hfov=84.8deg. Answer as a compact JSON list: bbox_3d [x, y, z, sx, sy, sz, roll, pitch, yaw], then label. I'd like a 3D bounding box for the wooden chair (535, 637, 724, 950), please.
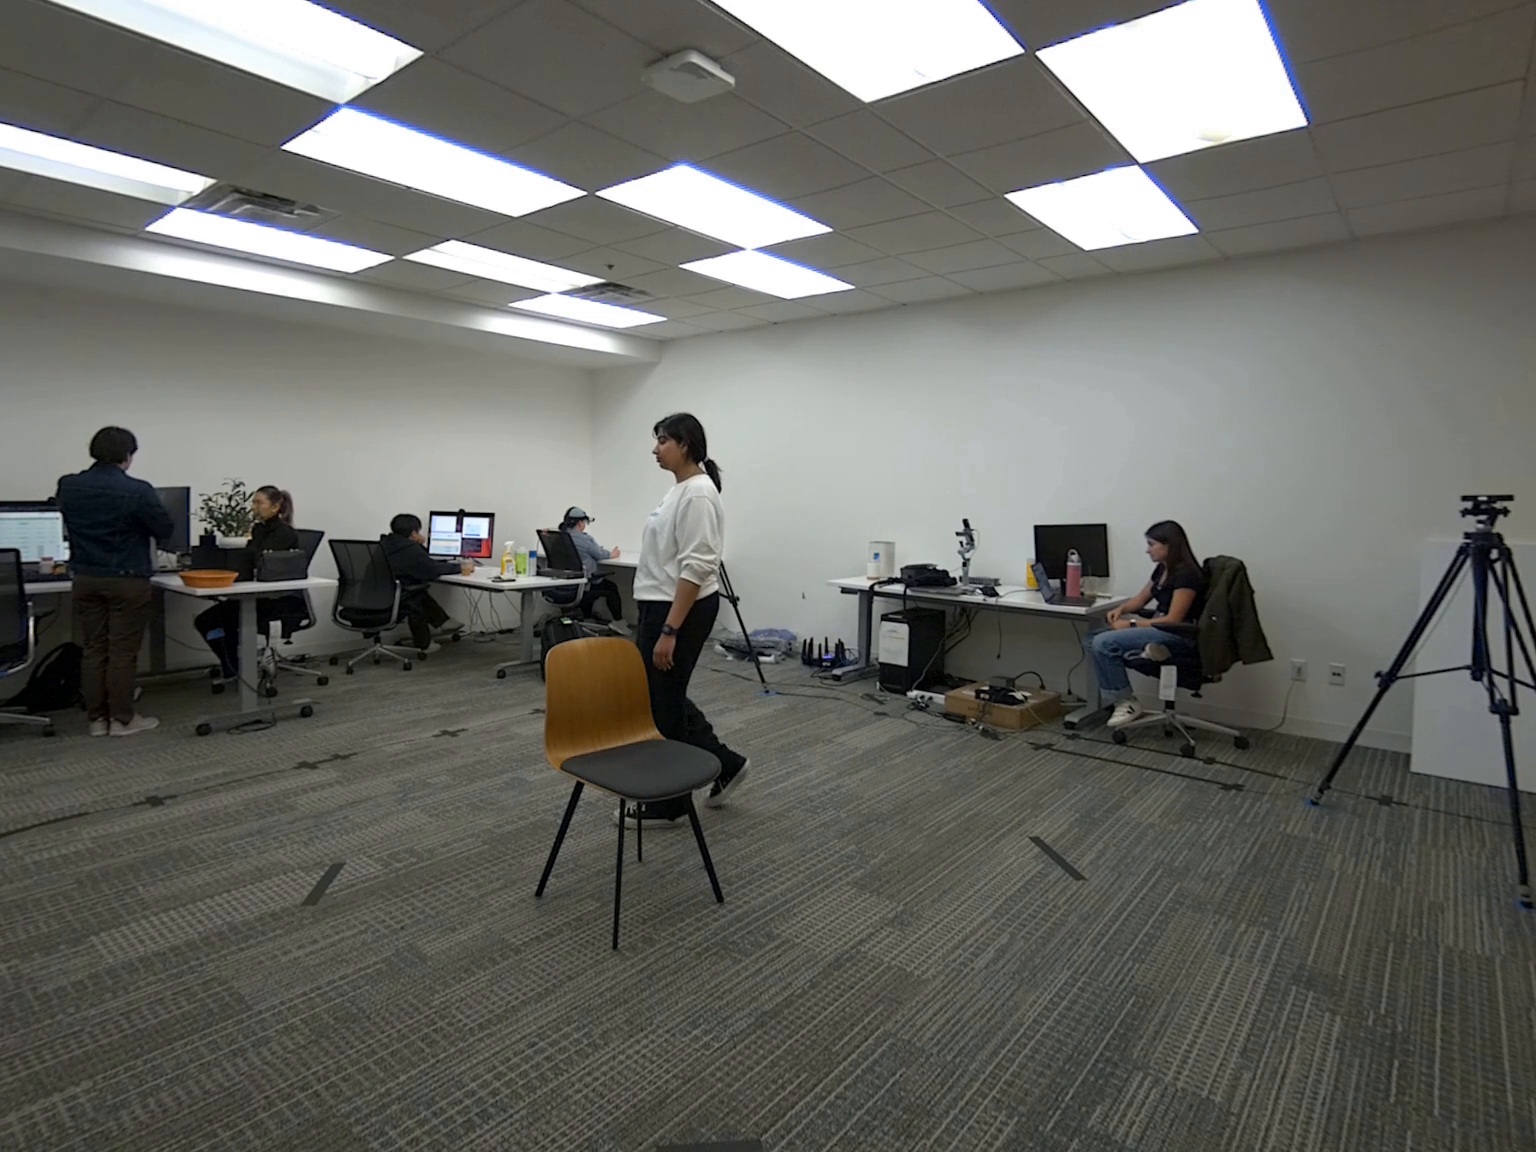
[{"bbox_3d":[-0.456,0.662,2.825,0.539,0.878,0.463,-2,0,45],"label":"wooden chair"}]
